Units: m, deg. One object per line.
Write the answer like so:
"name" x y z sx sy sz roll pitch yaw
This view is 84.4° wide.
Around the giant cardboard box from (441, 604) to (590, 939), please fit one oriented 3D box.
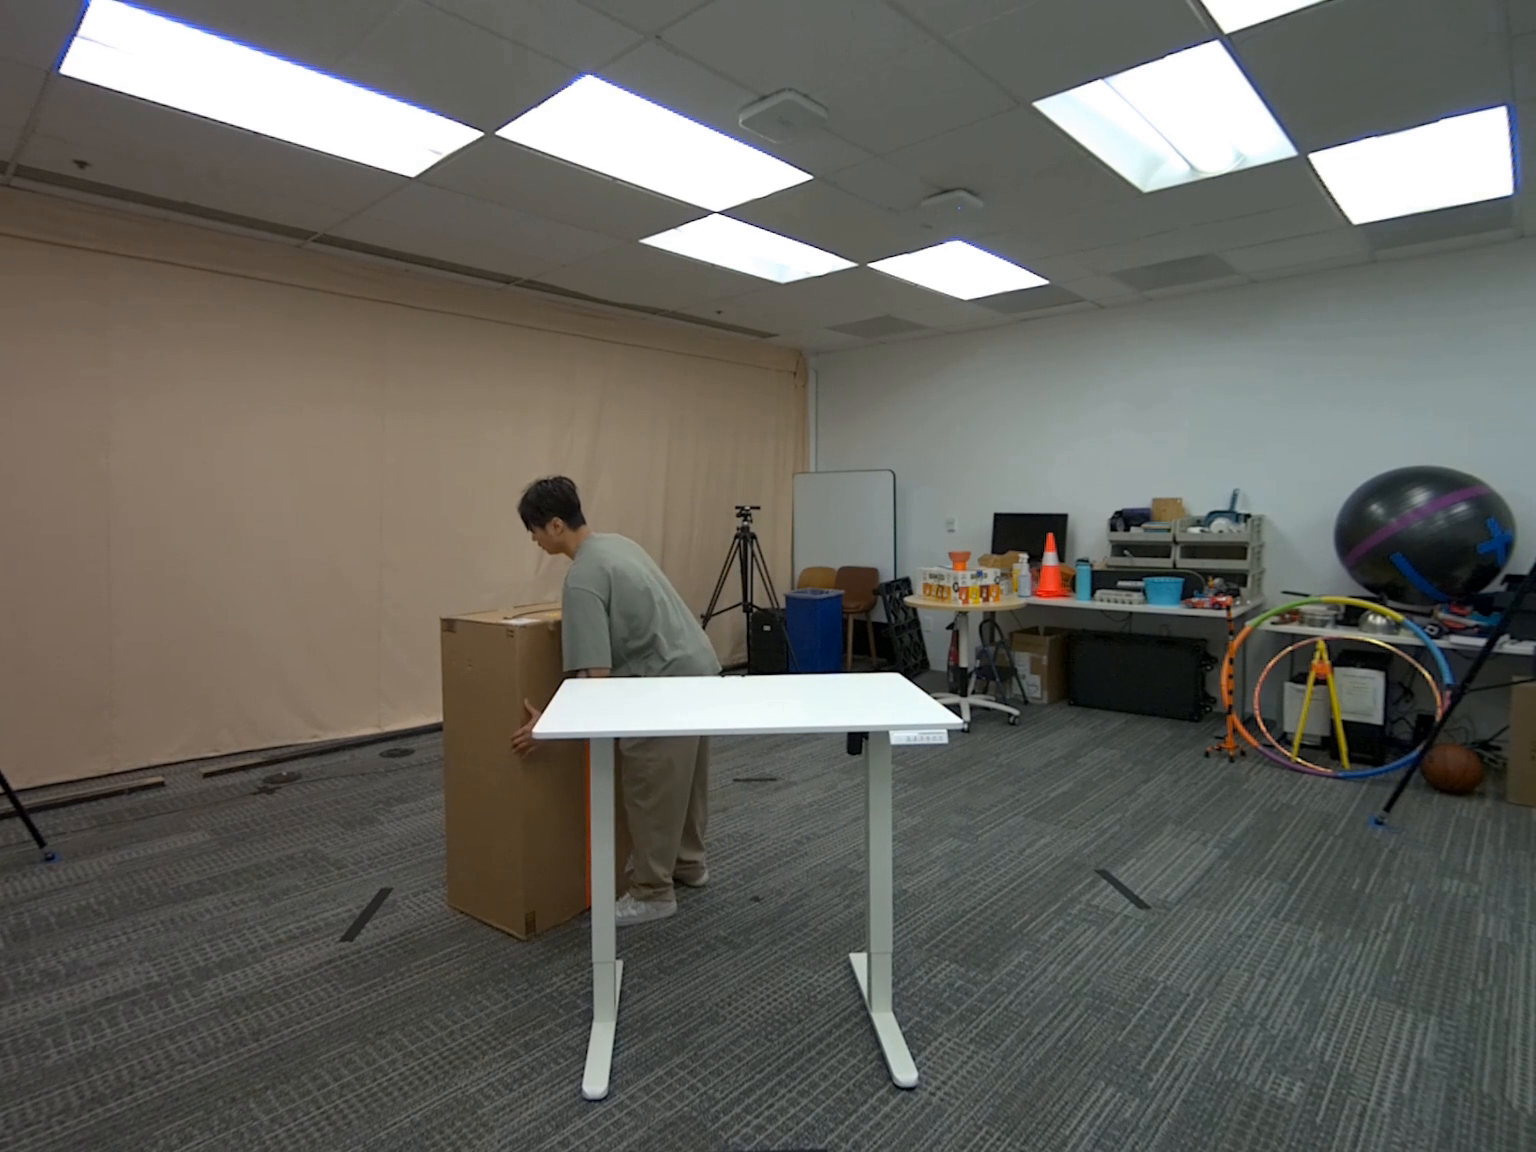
"giant cardboard box" -0.805 0.639 3.032 0.439 1.024 0.561 1 3 35
